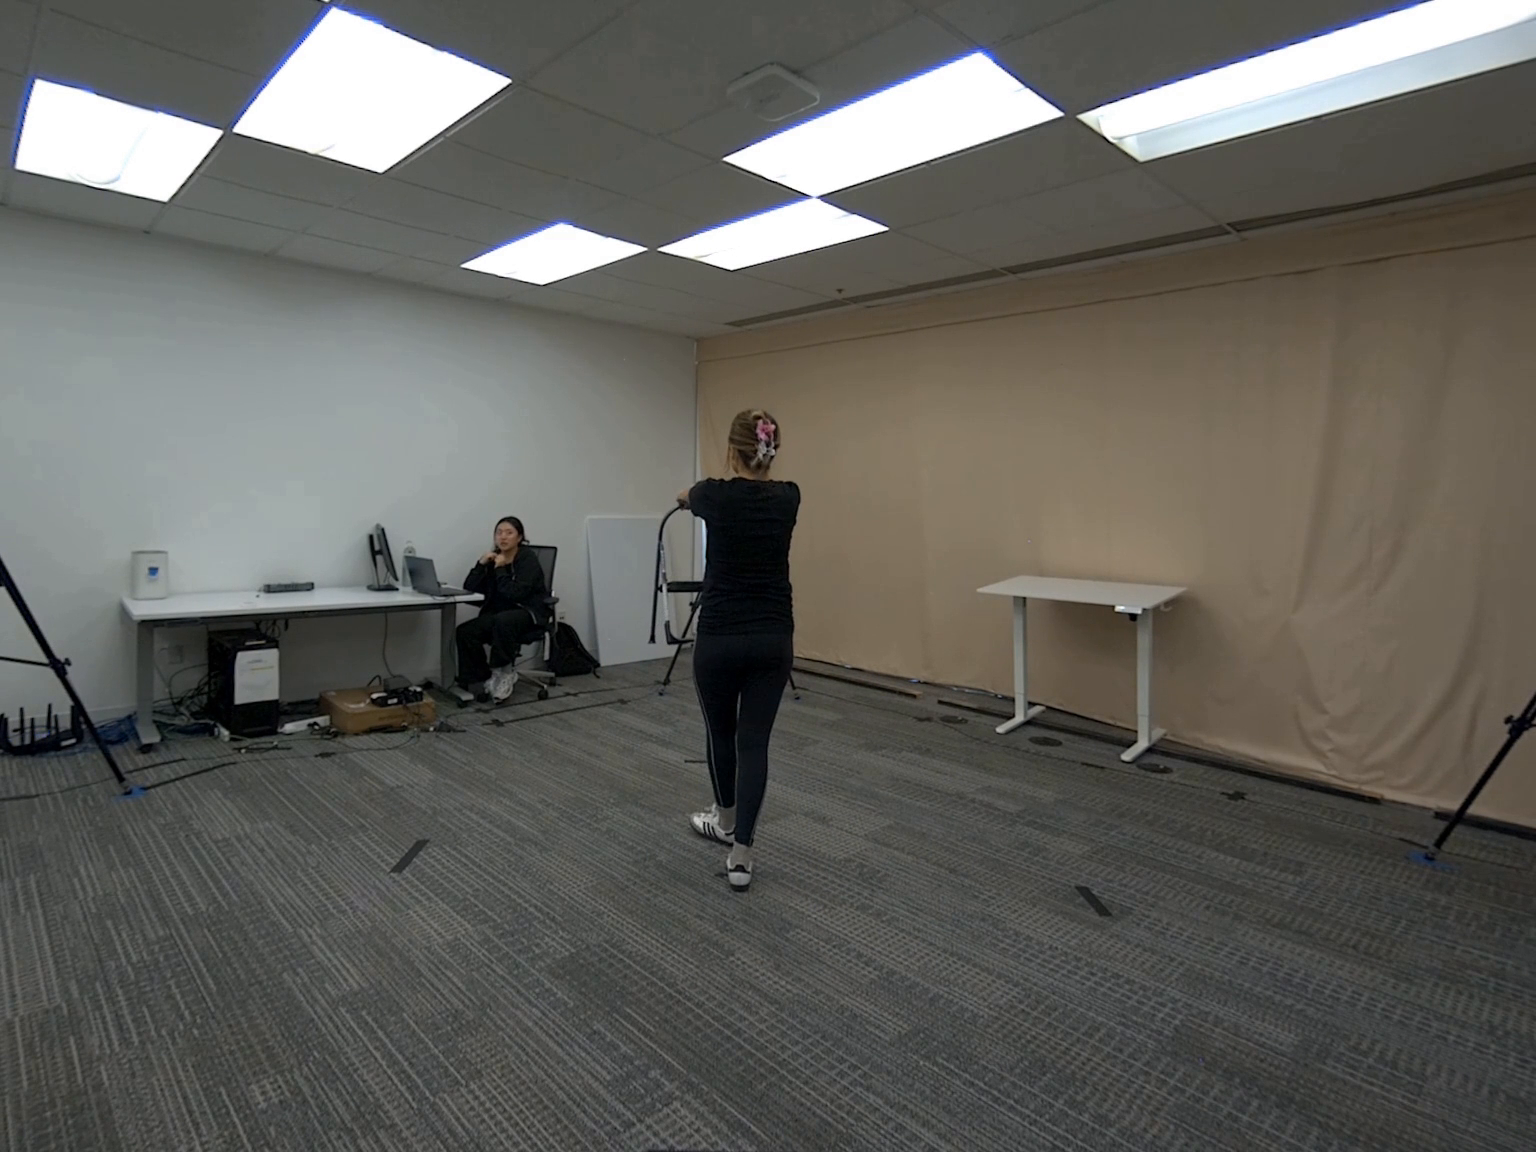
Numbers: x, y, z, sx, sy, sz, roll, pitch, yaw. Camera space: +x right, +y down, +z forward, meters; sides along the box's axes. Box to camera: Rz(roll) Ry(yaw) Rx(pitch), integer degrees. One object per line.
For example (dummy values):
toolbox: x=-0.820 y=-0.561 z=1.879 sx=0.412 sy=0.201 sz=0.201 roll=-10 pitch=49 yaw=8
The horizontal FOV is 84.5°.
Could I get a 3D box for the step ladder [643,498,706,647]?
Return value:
step ladder: x=-0.292 y=-0.011 z=3.699 sx=0.424 sy=0.608 sz=0.353 roll=0 pitch=-4 yaw=-21
